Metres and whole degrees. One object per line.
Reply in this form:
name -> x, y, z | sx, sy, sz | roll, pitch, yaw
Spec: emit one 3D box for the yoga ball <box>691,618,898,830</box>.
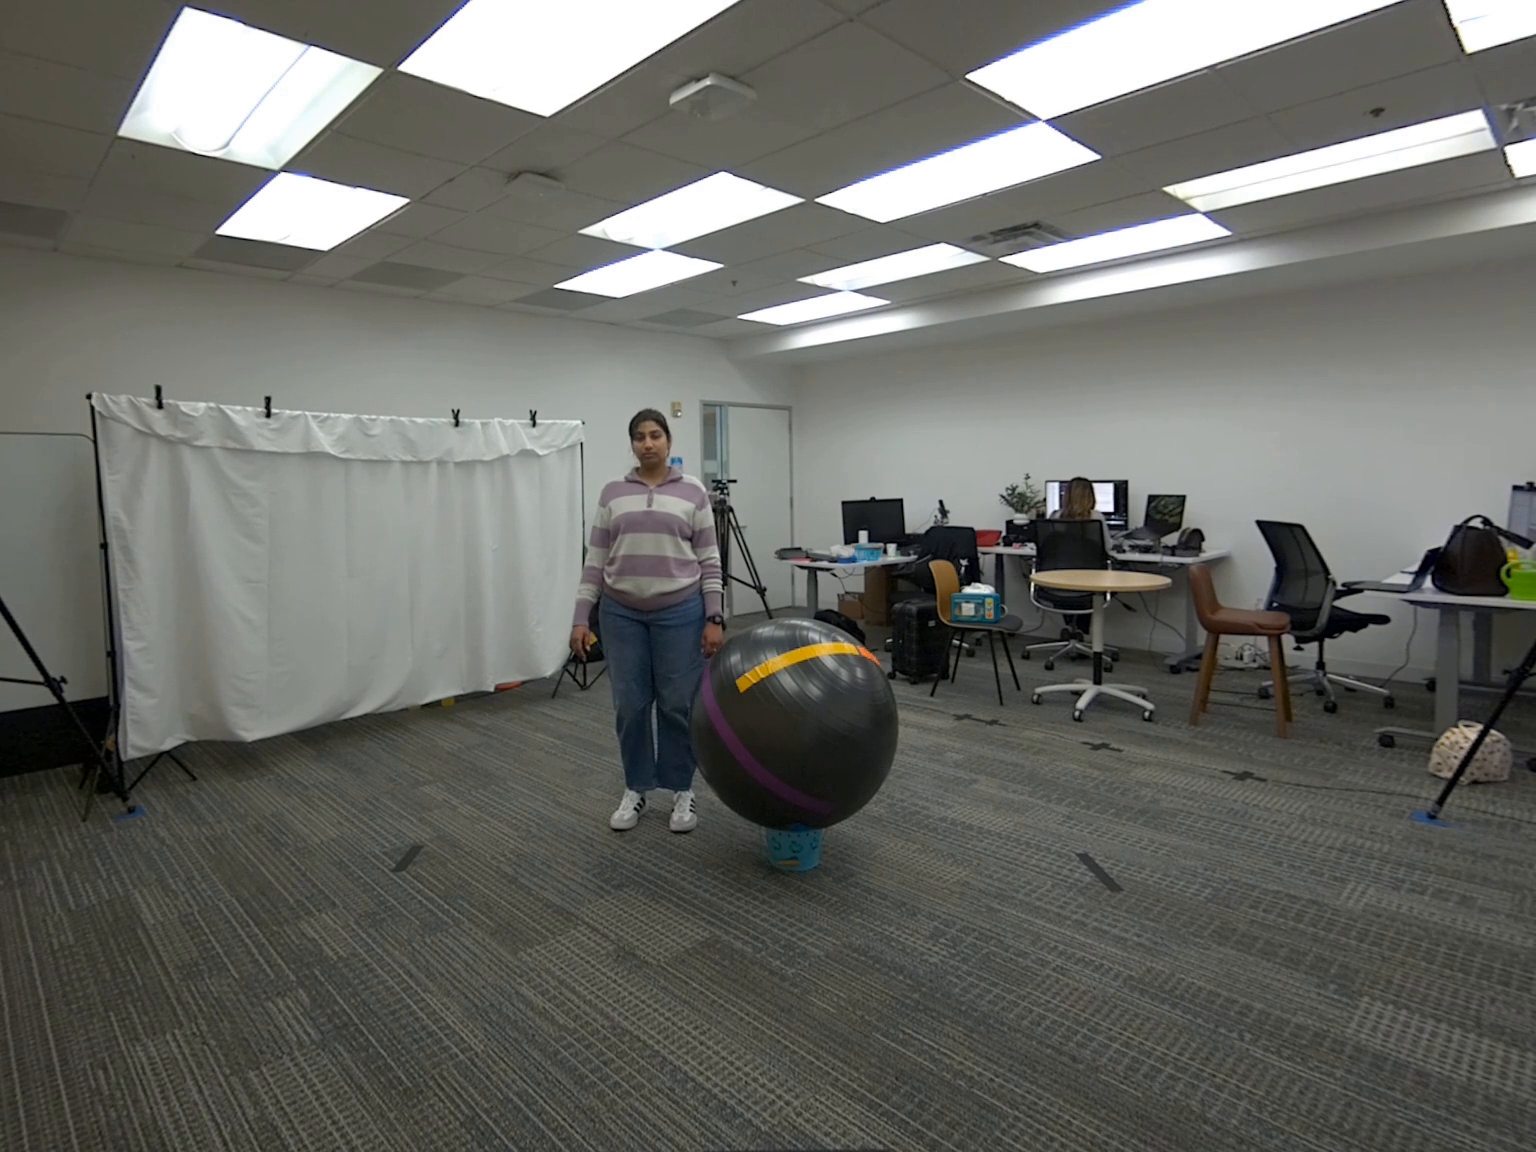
yoga ball -> 0.090, 0.532, 3.104 | 0.757, 0.755, 0.762 | -1, 5, -2
